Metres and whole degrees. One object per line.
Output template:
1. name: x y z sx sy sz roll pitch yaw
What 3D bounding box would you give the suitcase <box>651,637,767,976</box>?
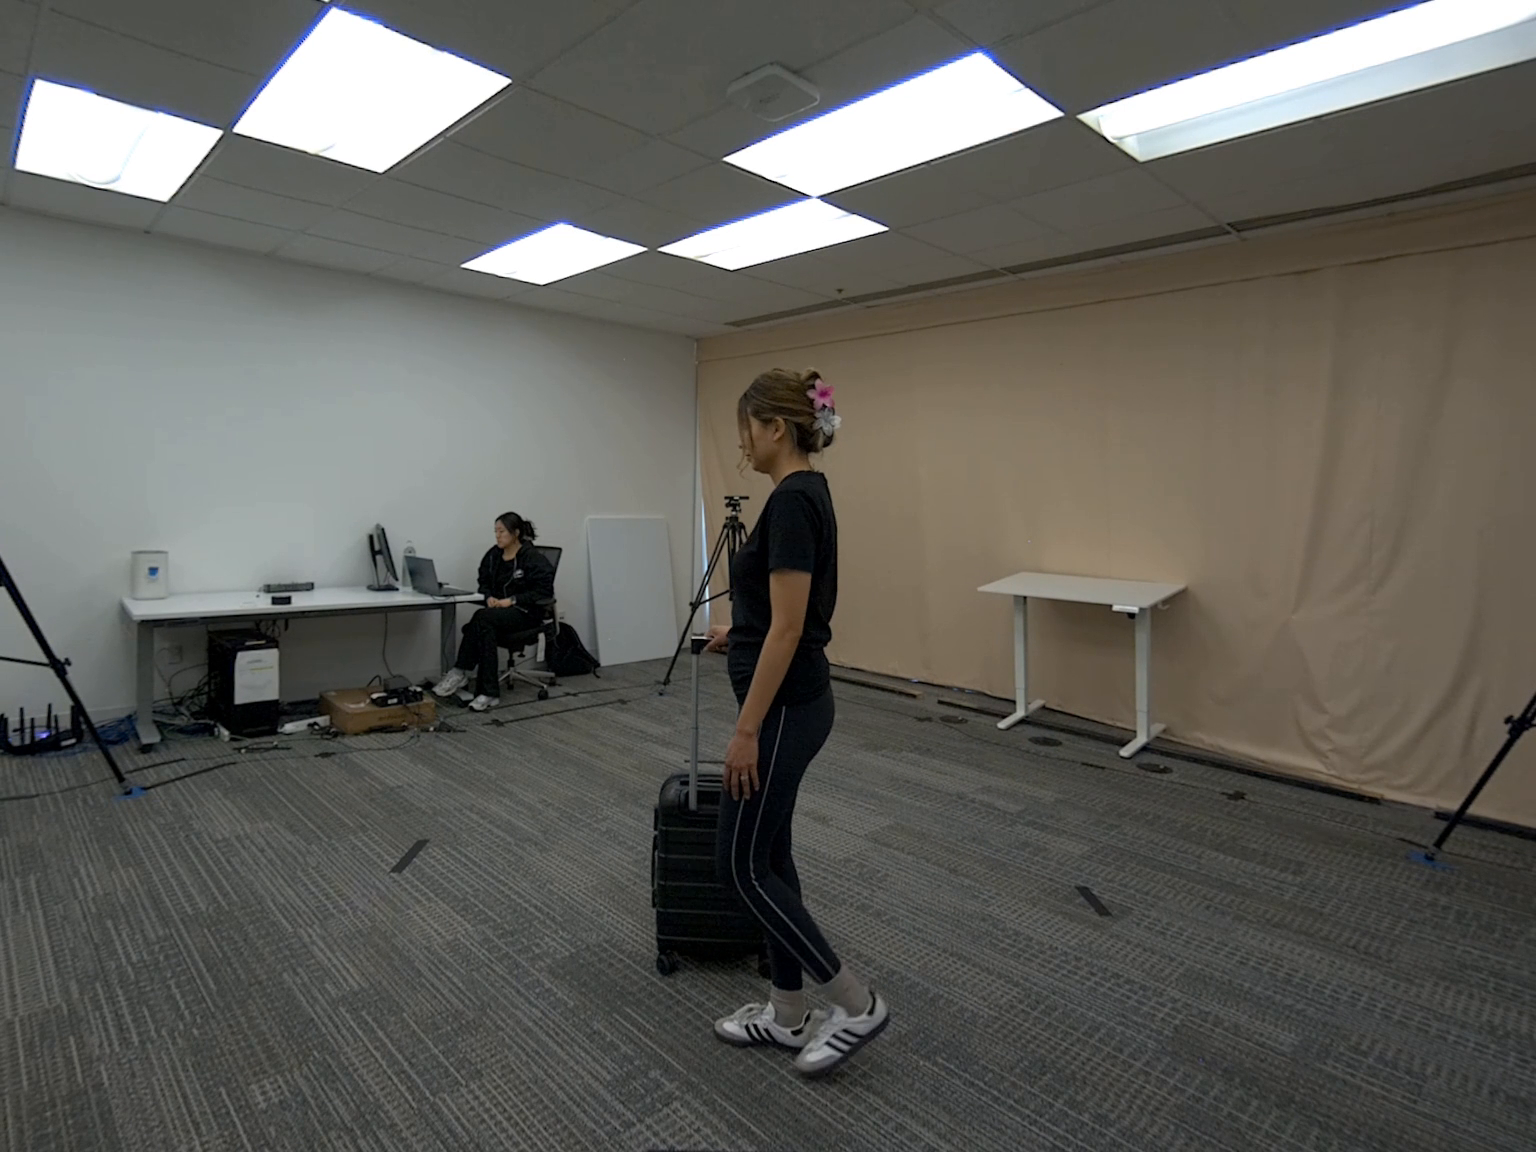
1. suitcase: -0.163 0.683 2.553 0.384 0.978 0.257 0 0 1
